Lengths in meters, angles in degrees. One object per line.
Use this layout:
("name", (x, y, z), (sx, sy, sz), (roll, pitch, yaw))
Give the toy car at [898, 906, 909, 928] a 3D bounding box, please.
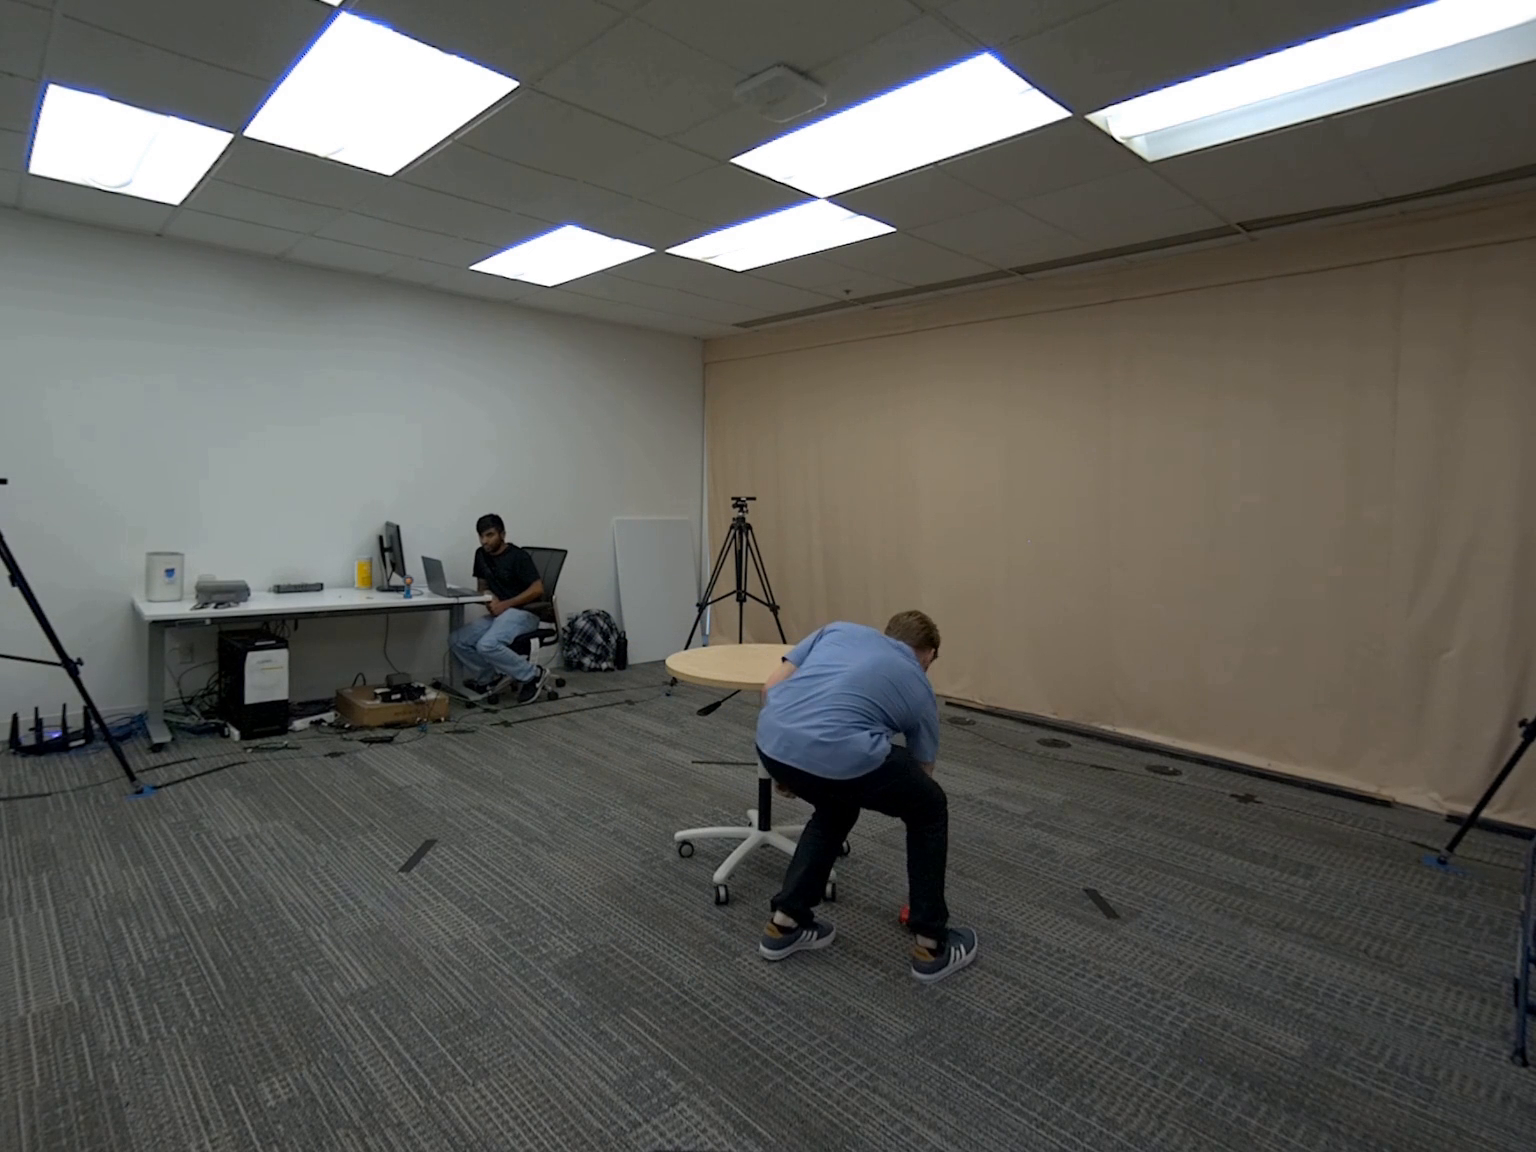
("toy car", (0.515, 1.125, 2.807), (0.133, 0.083, 0.249), (4, -6, 22))
